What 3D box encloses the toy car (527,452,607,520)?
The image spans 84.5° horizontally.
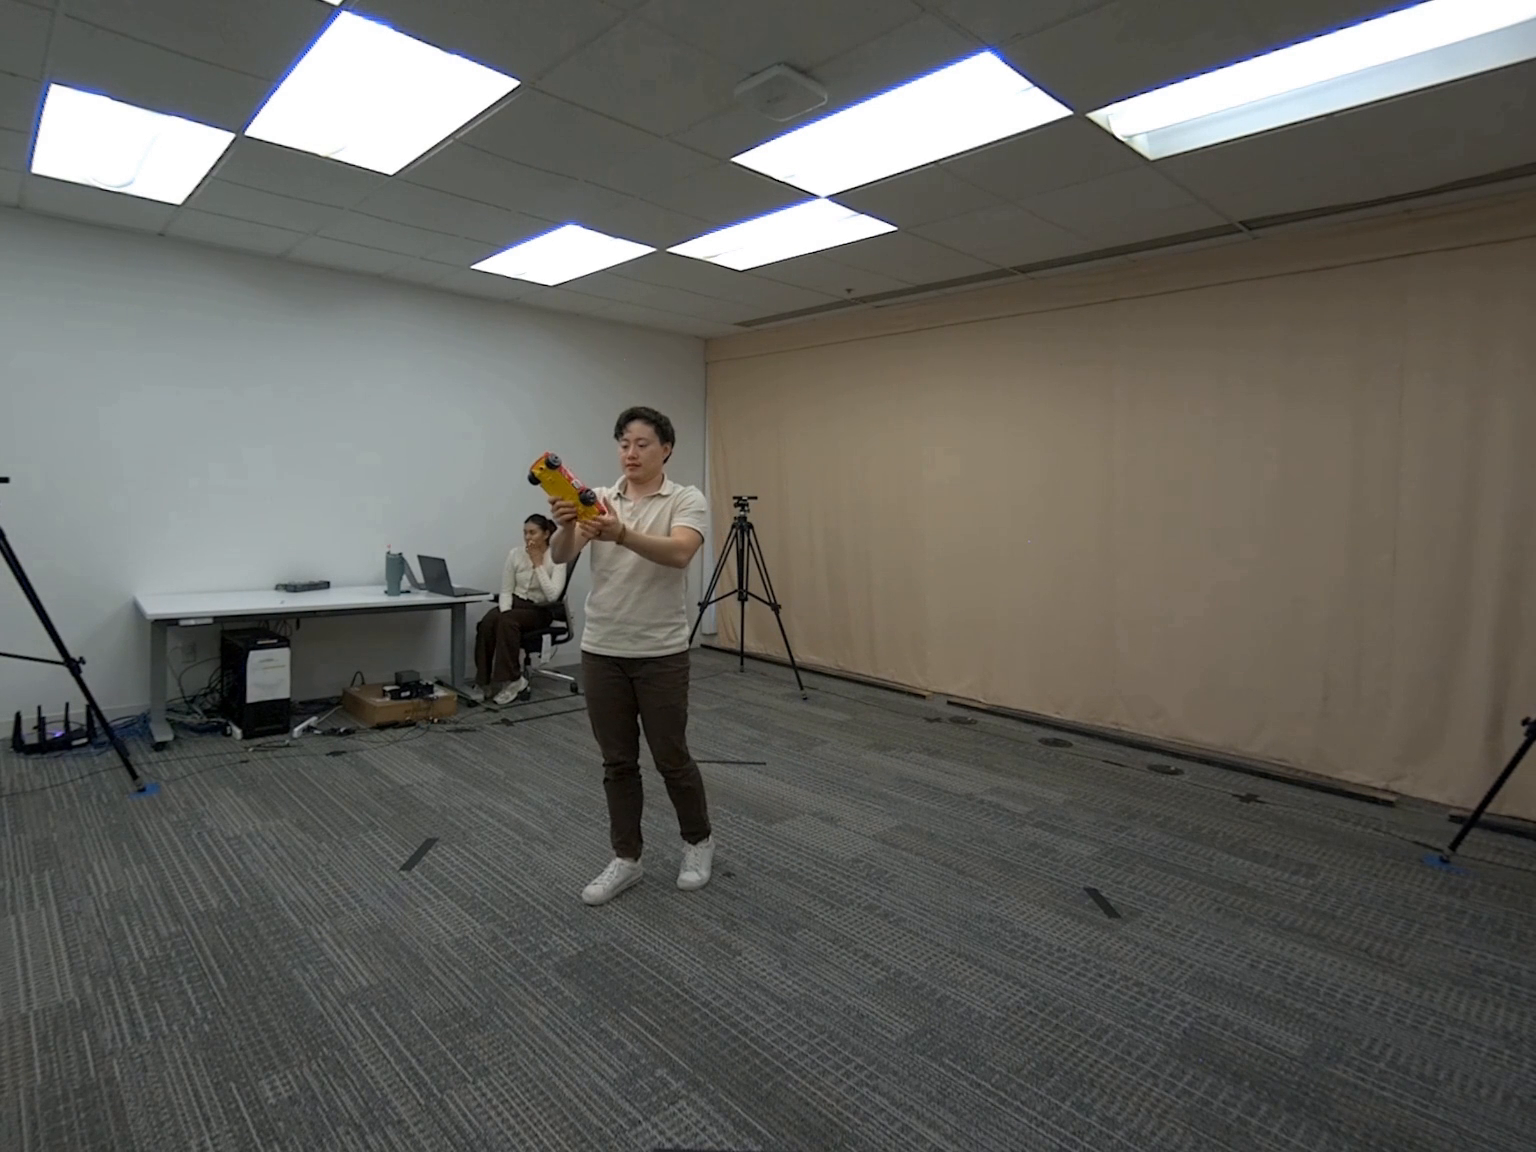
[{"bbox_3d":[-0.600,-0.249,2.507,0.131,0.249,0.084,-36,23,32],"label":"toy car"}]
